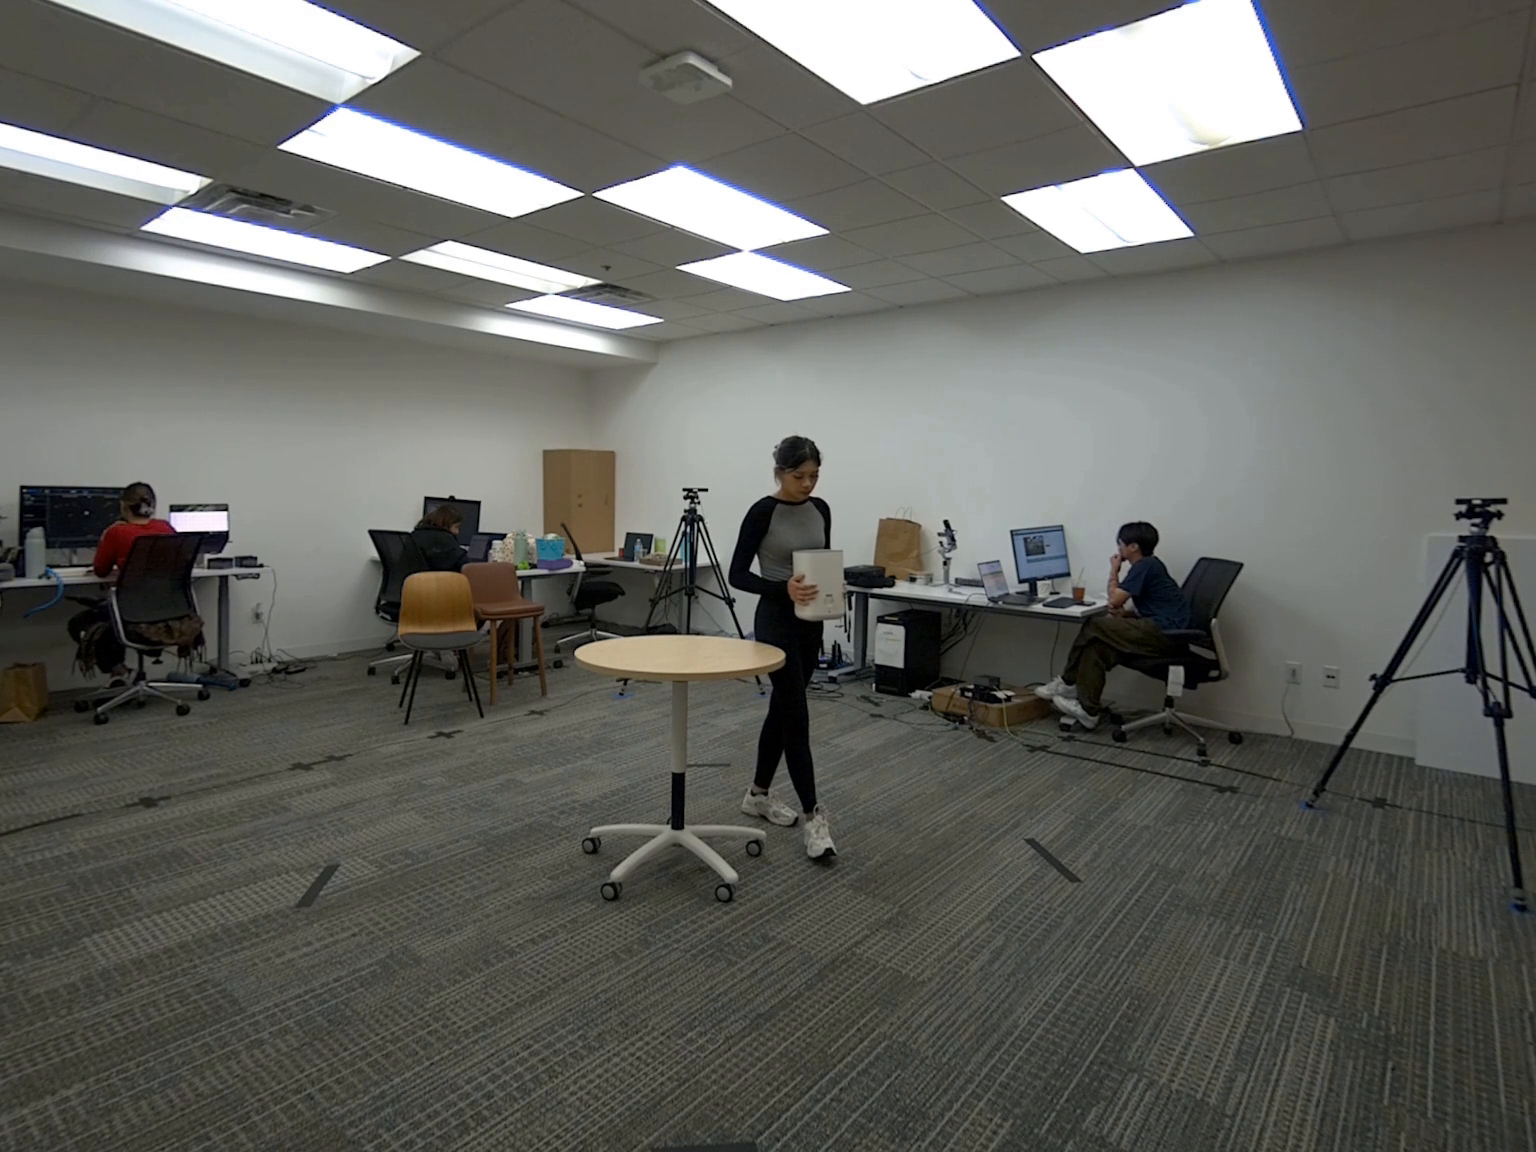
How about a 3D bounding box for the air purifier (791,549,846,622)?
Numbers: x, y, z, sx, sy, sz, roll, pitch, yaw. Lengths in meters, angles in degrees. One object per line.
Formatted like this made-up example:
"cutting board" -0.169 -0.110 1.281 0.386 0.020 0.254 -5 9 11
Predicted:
"air purifier" 0.184 0.030 3.289 0.168 0.265 0.175 0 0 -19
